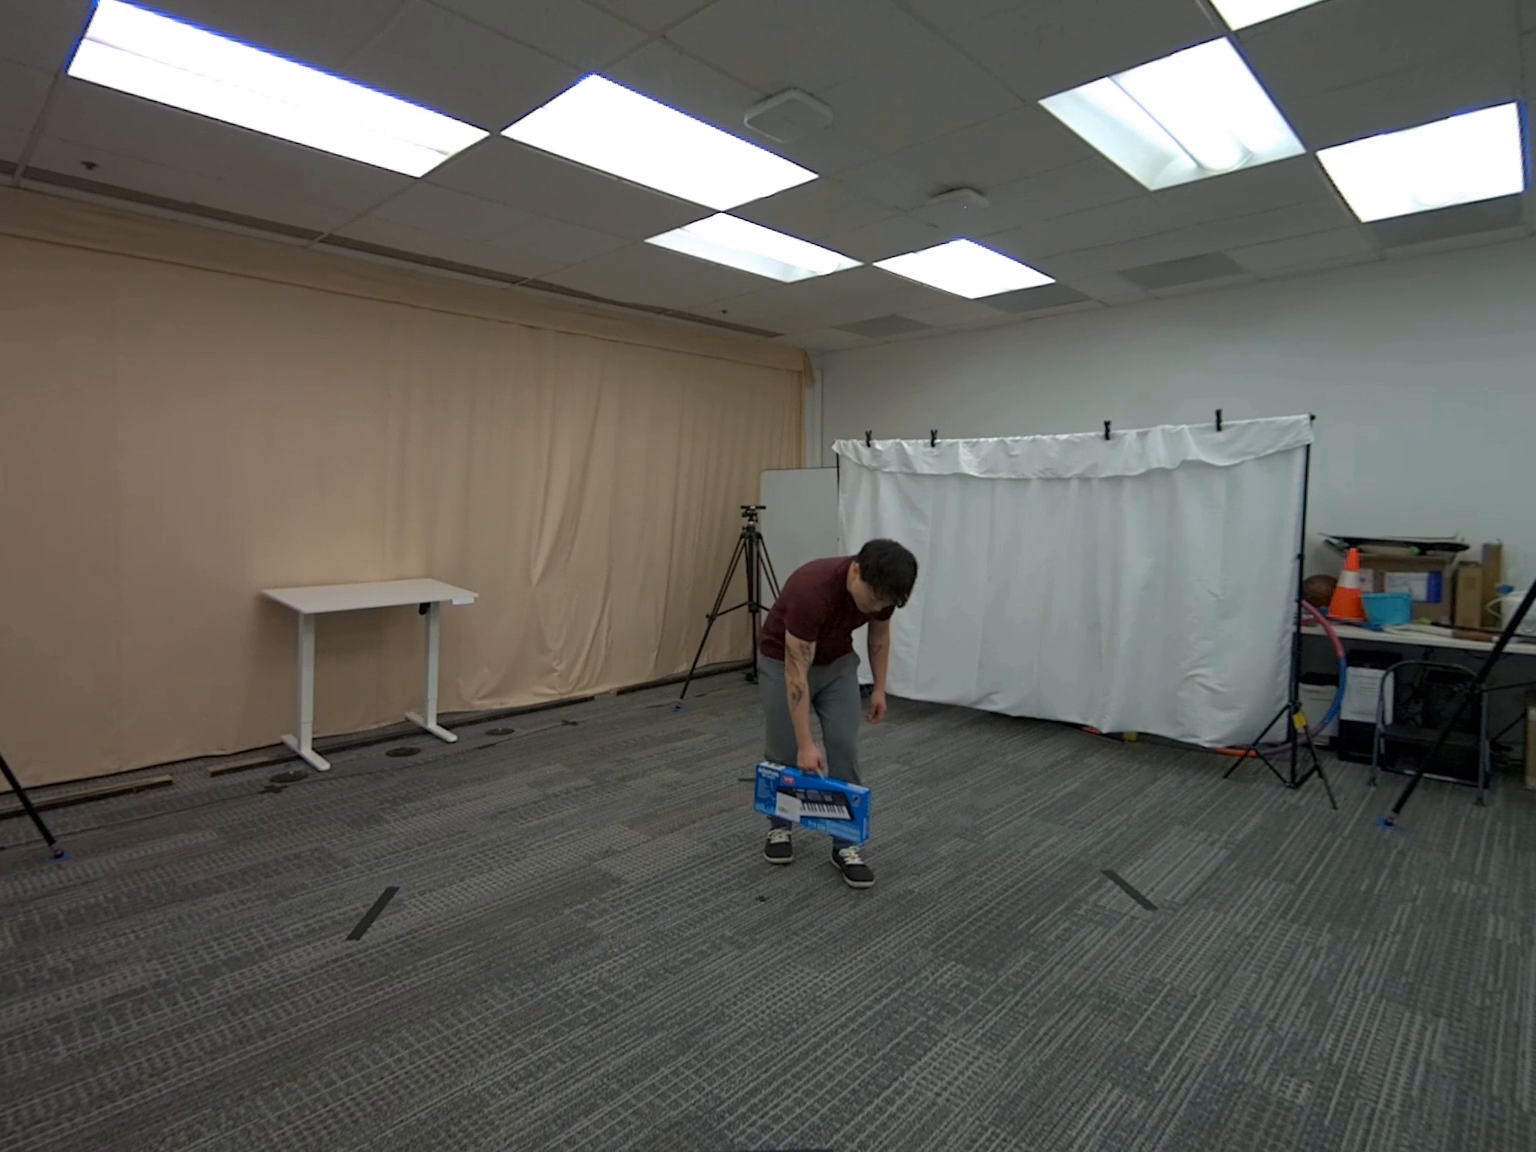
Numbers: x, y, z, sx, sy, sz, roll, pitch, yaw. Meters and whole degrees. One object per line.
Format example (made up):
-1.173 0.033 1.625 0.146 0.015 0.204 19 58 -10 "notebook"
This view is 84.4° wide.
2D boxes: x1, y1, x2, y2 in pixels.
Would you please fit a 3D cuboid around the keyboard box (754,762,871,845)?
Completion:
0.149 0.784 2.956 0.451 0.175 0.057 6 5 35 "keyboard box"
